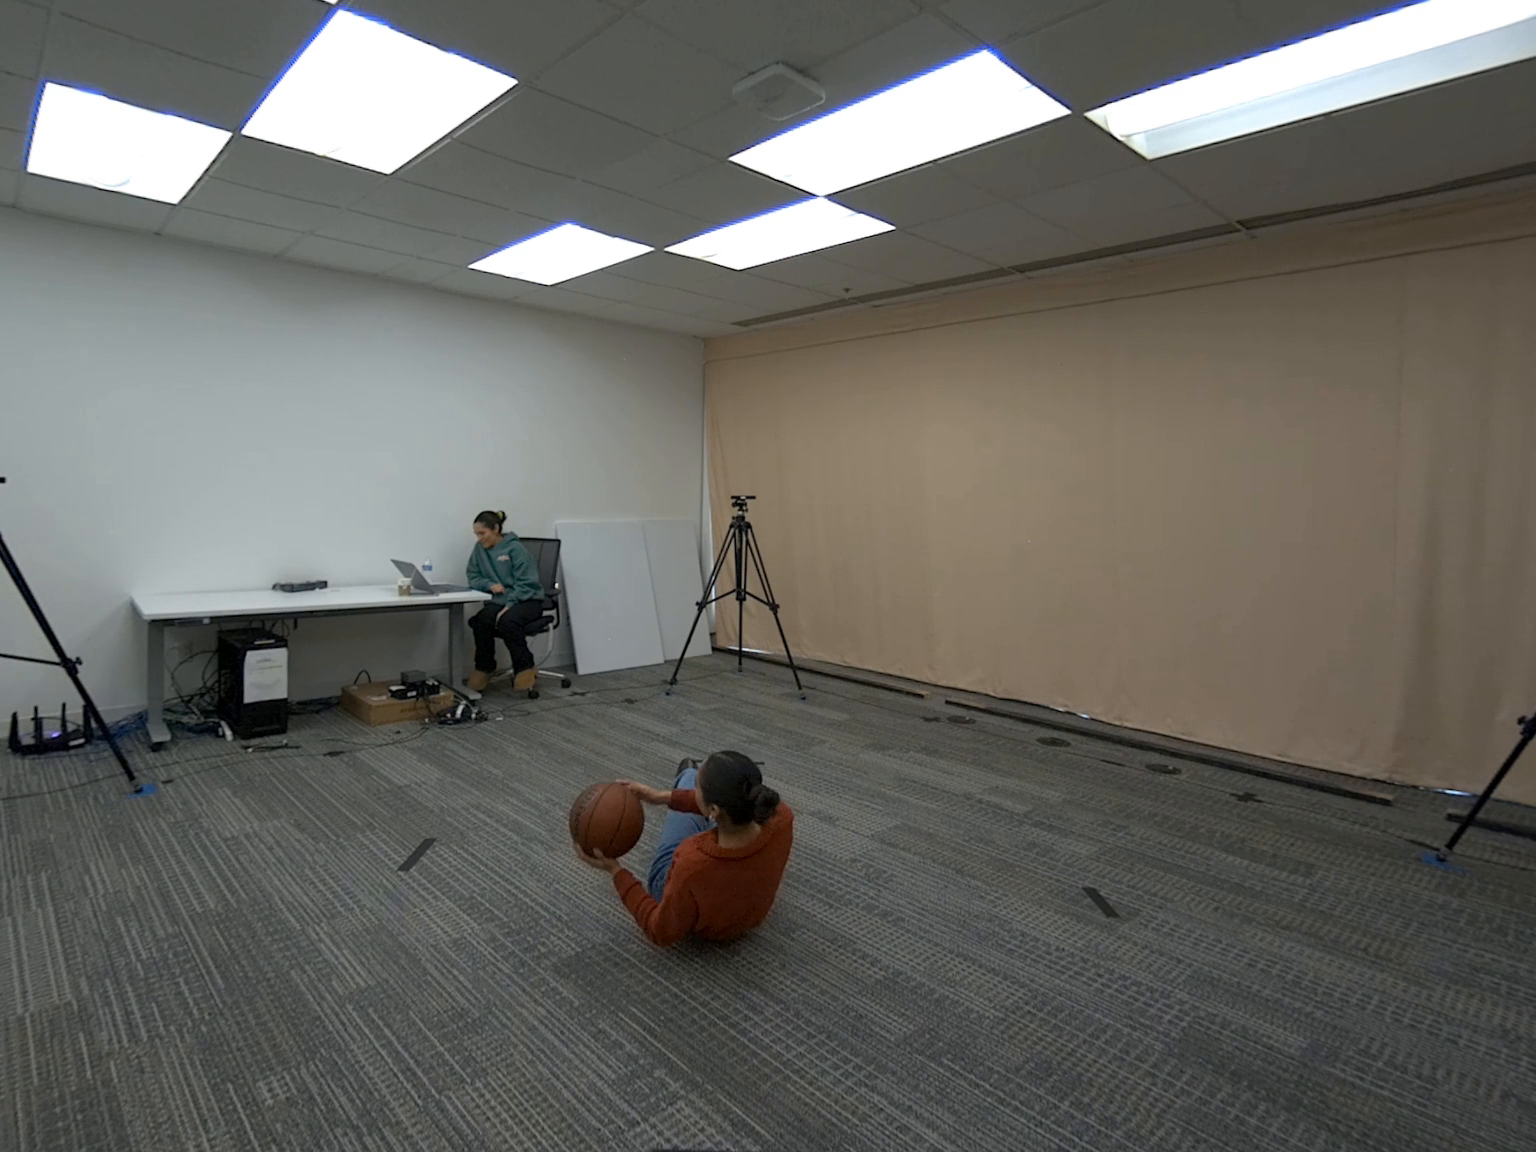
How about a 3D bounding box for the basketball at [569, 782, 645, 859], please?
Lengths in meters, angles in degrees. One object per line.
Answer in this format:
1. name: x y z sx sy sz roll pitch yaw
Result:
1. basketball: -0.502 0.776 2.662 0.236 0.235 0.237 1 4 -1
